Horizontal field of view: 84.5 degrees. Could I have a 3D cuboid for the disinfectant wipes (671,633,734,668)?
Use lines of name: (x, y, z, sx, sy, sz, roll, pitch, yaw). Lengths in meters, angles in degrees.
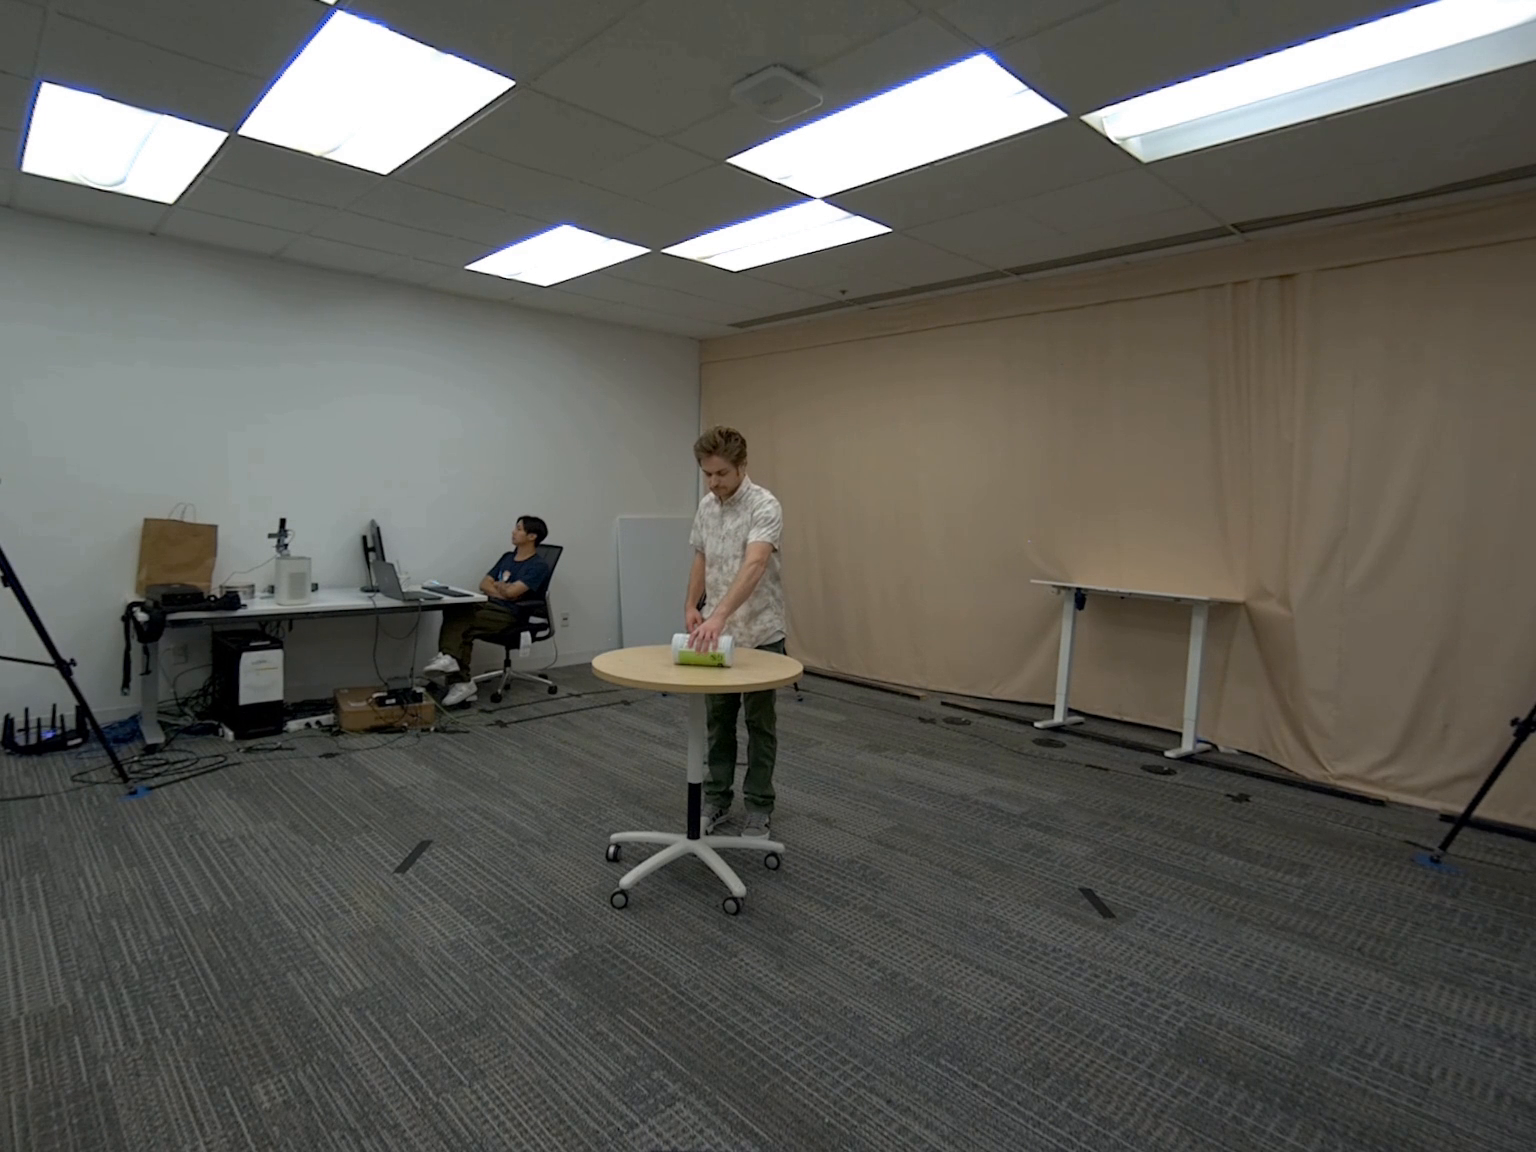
disinfectant wipes: (-0.249, 0.270, 3.014, 0.218, 0.117, 0.118, 1, 4, 2)
